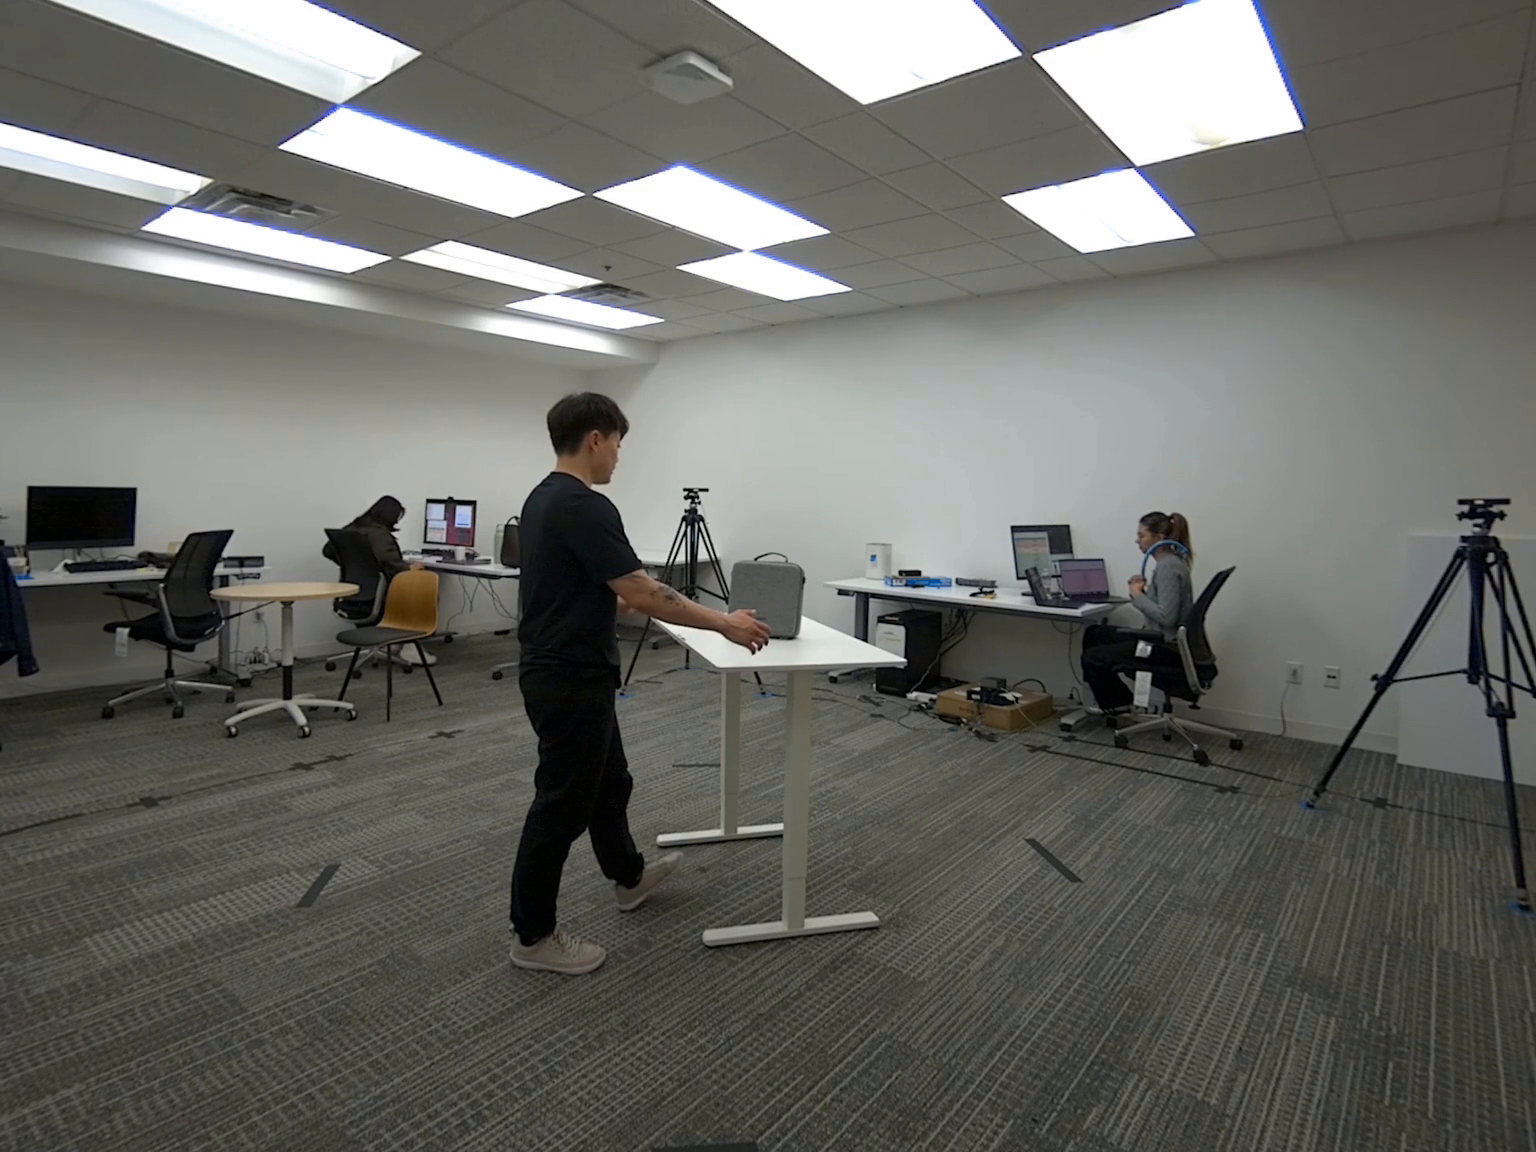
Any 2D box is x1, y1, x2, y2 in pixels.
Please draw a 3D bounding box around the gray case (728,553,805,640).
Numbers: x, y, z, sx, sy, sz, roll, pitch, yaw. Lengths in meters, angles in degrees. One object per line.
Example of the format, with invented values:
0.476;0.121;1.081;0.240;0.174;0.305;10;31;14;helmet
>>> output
-0.018;0.078;2.972;0.262;0.262;0.101;4;-8;18;gray case
